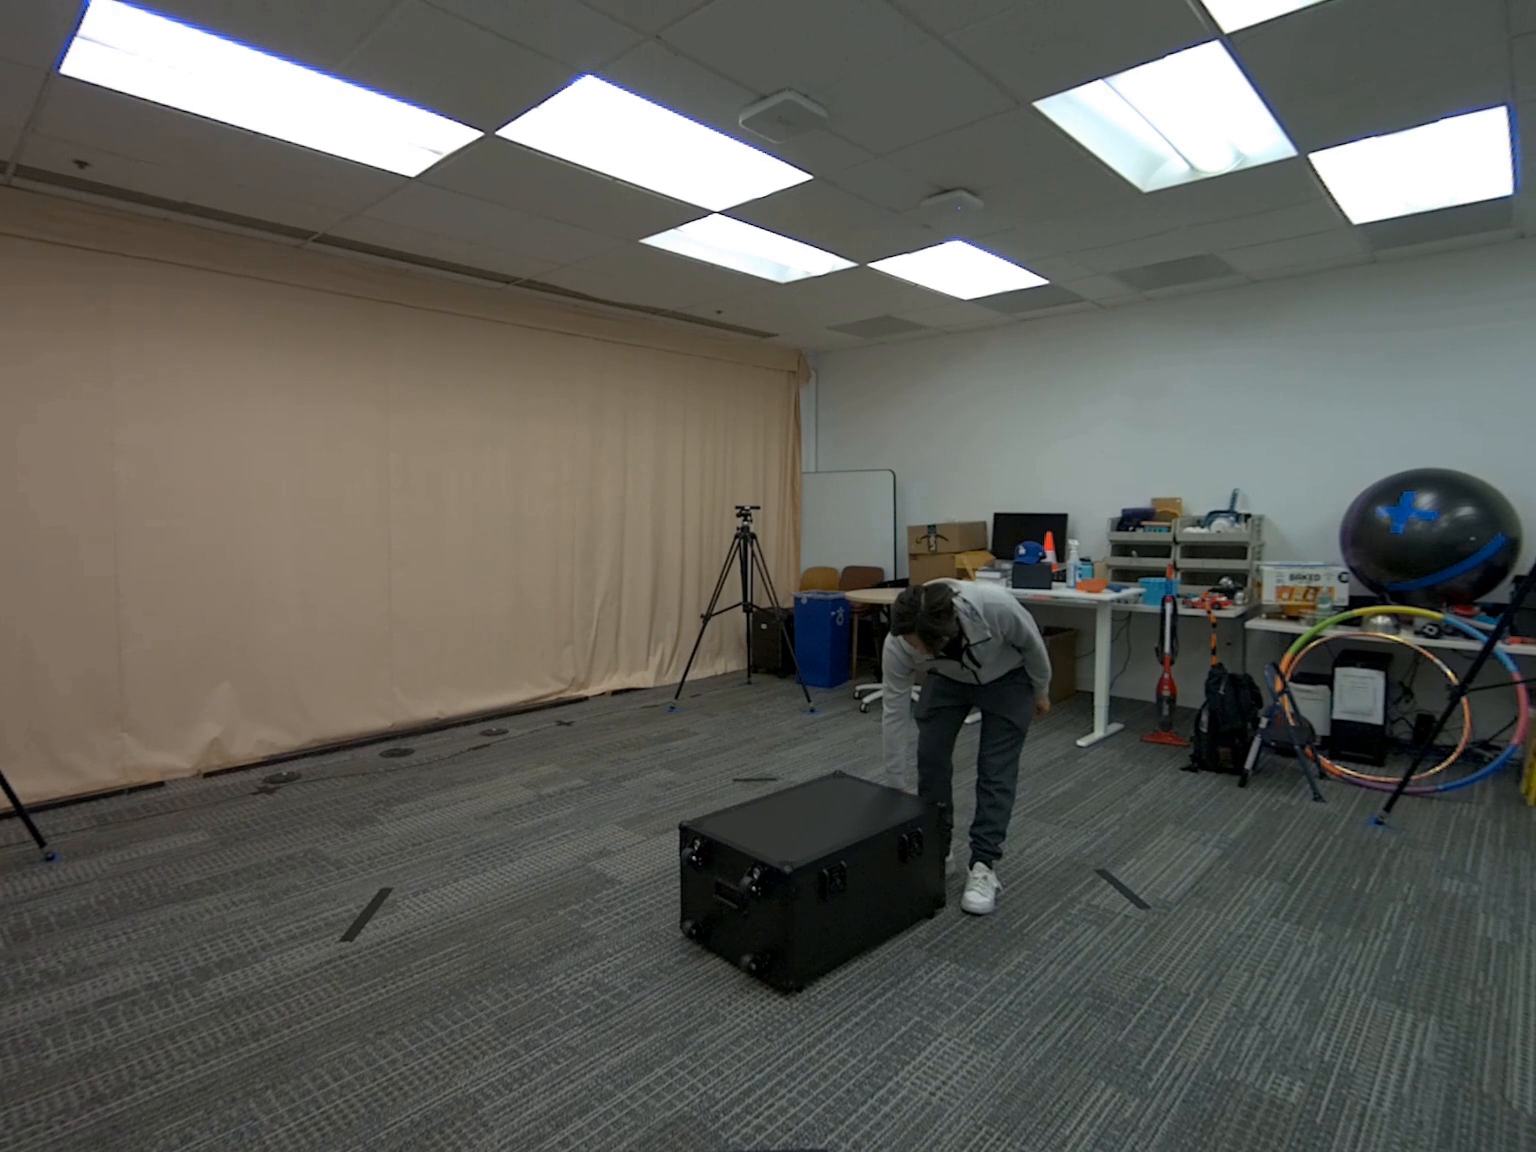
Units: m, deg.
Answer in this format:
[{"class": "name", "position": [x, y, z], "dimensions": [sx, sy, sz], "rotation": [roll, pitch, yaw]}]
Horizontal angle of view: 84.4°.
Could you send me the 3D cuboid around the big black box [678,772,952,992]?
[{"class": "big black box", "position": [0.136, 0.971, 2.769], "dimensions": [0.835, 0.395, 0.539], "rotation": [-4, 5, -43]}]
